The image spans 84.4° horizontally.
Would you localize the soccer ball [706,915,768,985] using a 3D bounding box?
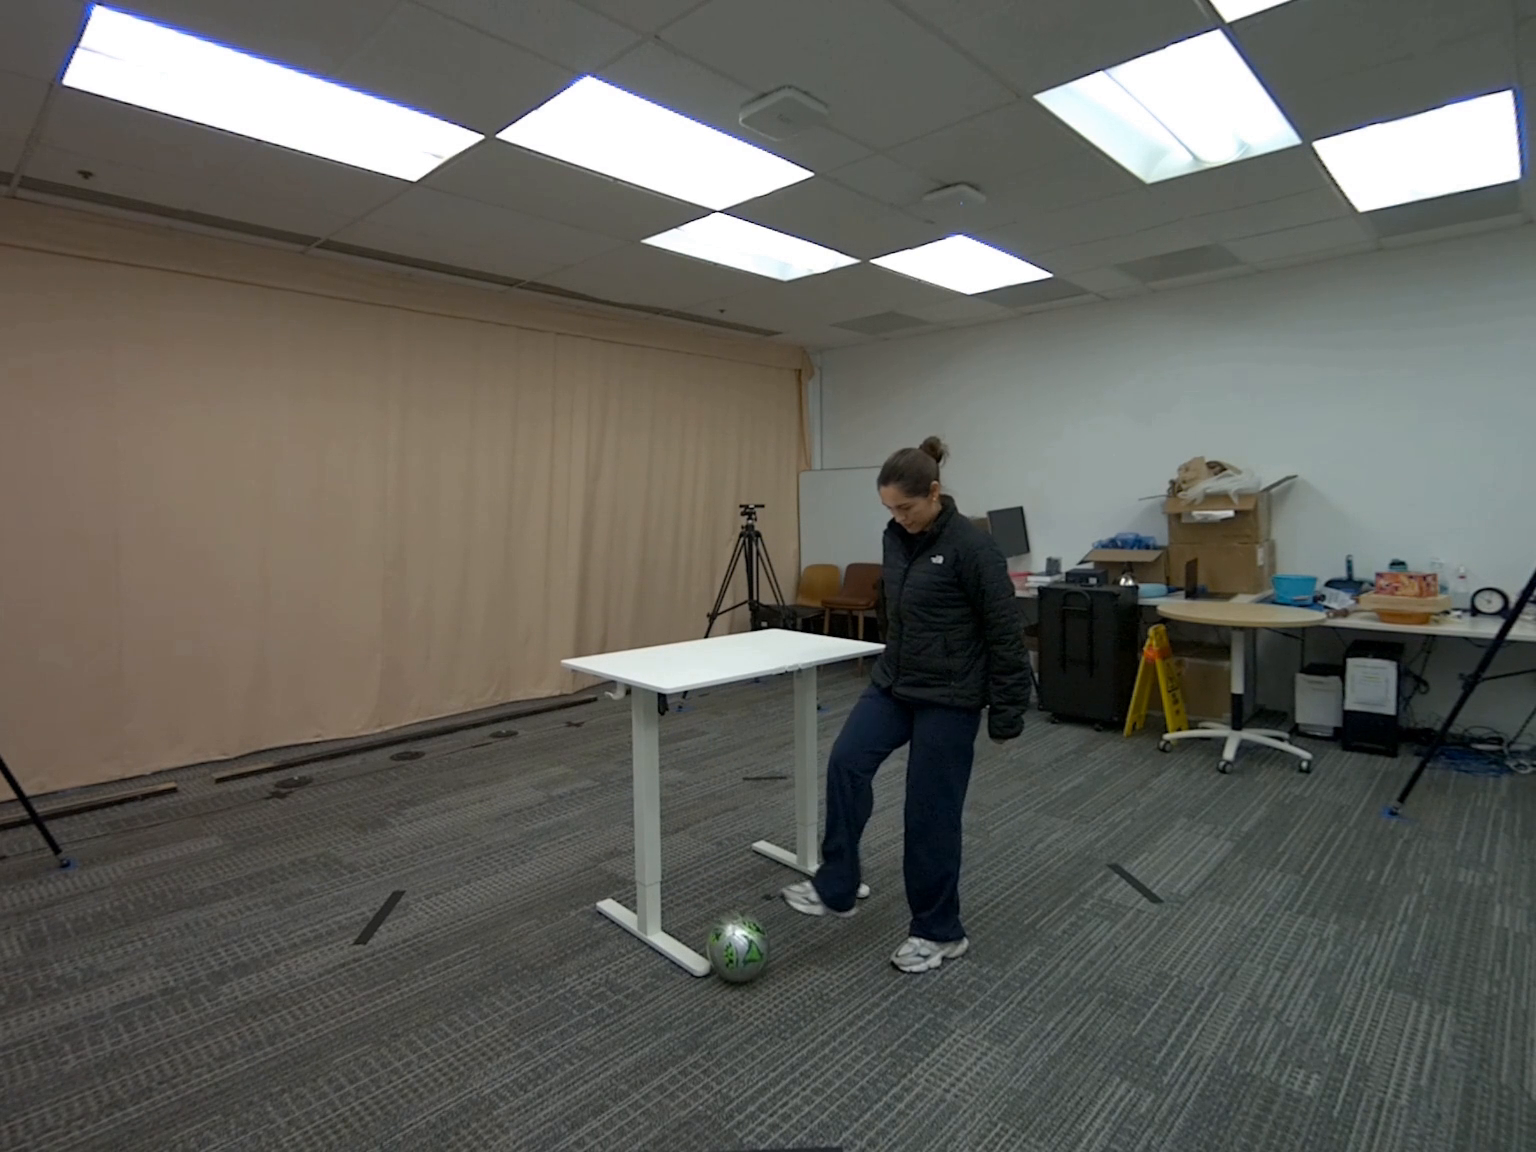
[{"bbox_3d":[-0.080,1.099,2.476,0.187,0.187,0.188,-1,4,-2],"label":"soccer ball"}]
